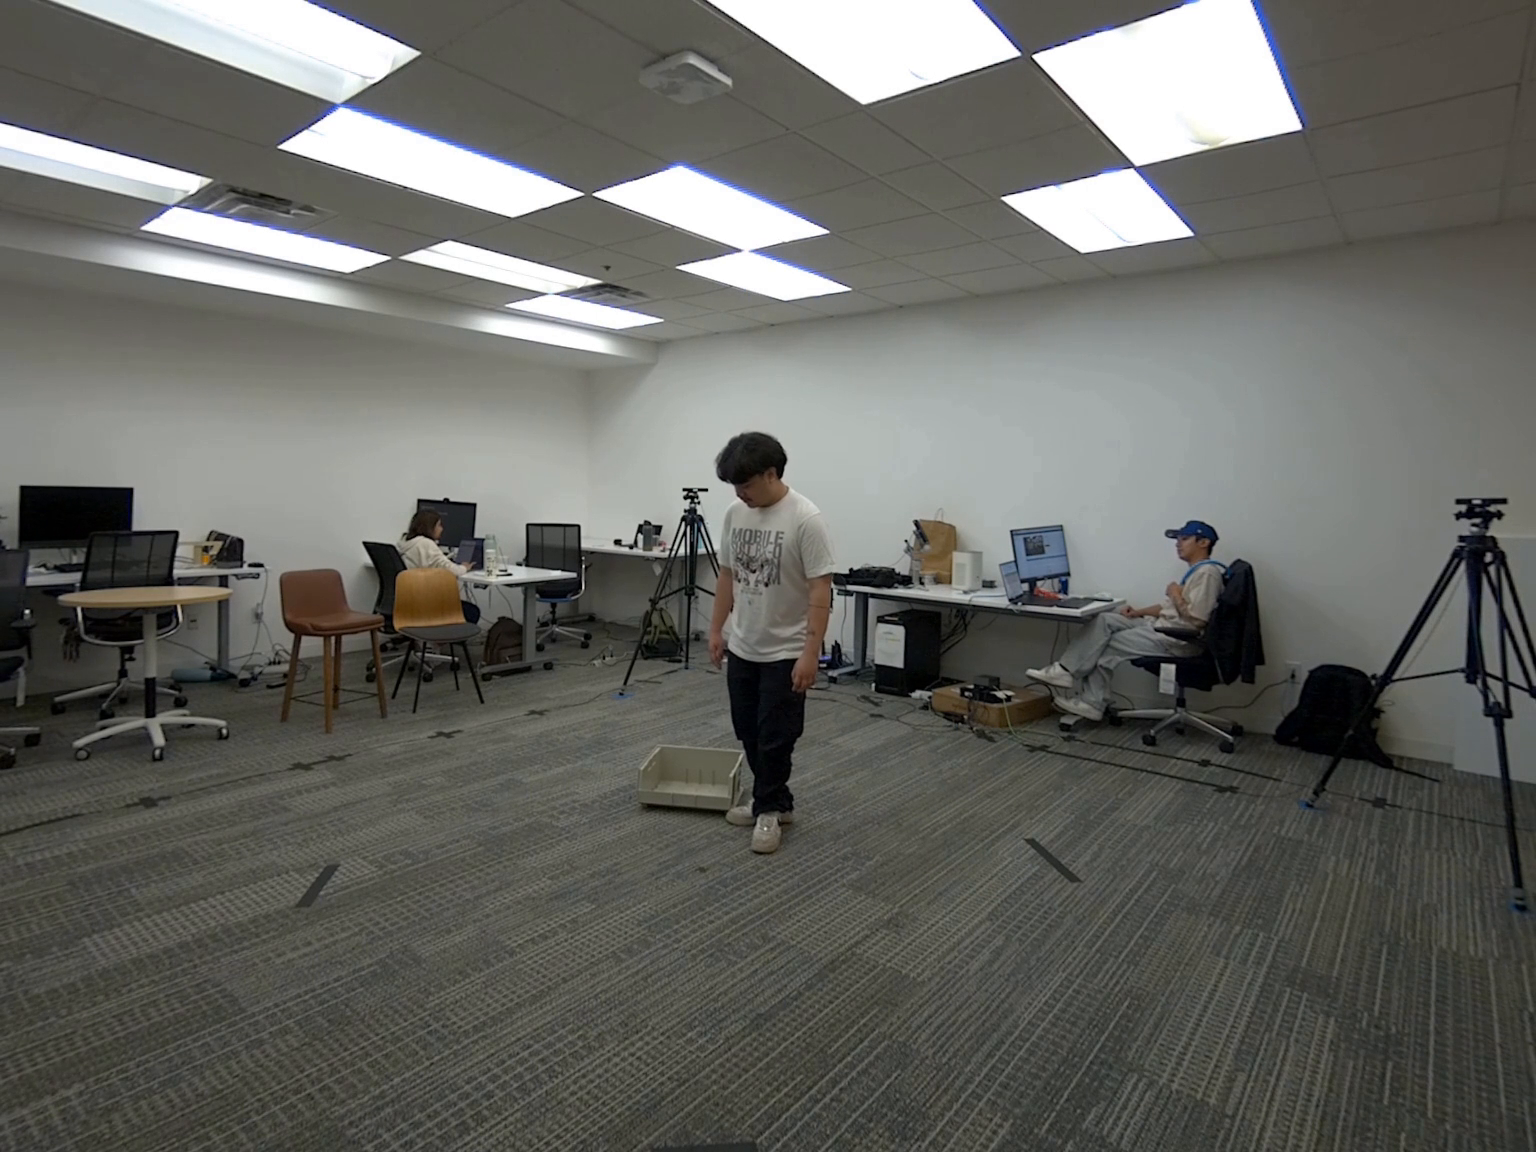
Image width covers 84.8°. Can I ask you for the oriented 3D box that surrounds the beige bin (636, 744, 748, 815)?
[{"bbox_3d":[-0.350,0.912,3.816,0.427,0.188,0.375,1,4,9],"label":"beige bin"}]
